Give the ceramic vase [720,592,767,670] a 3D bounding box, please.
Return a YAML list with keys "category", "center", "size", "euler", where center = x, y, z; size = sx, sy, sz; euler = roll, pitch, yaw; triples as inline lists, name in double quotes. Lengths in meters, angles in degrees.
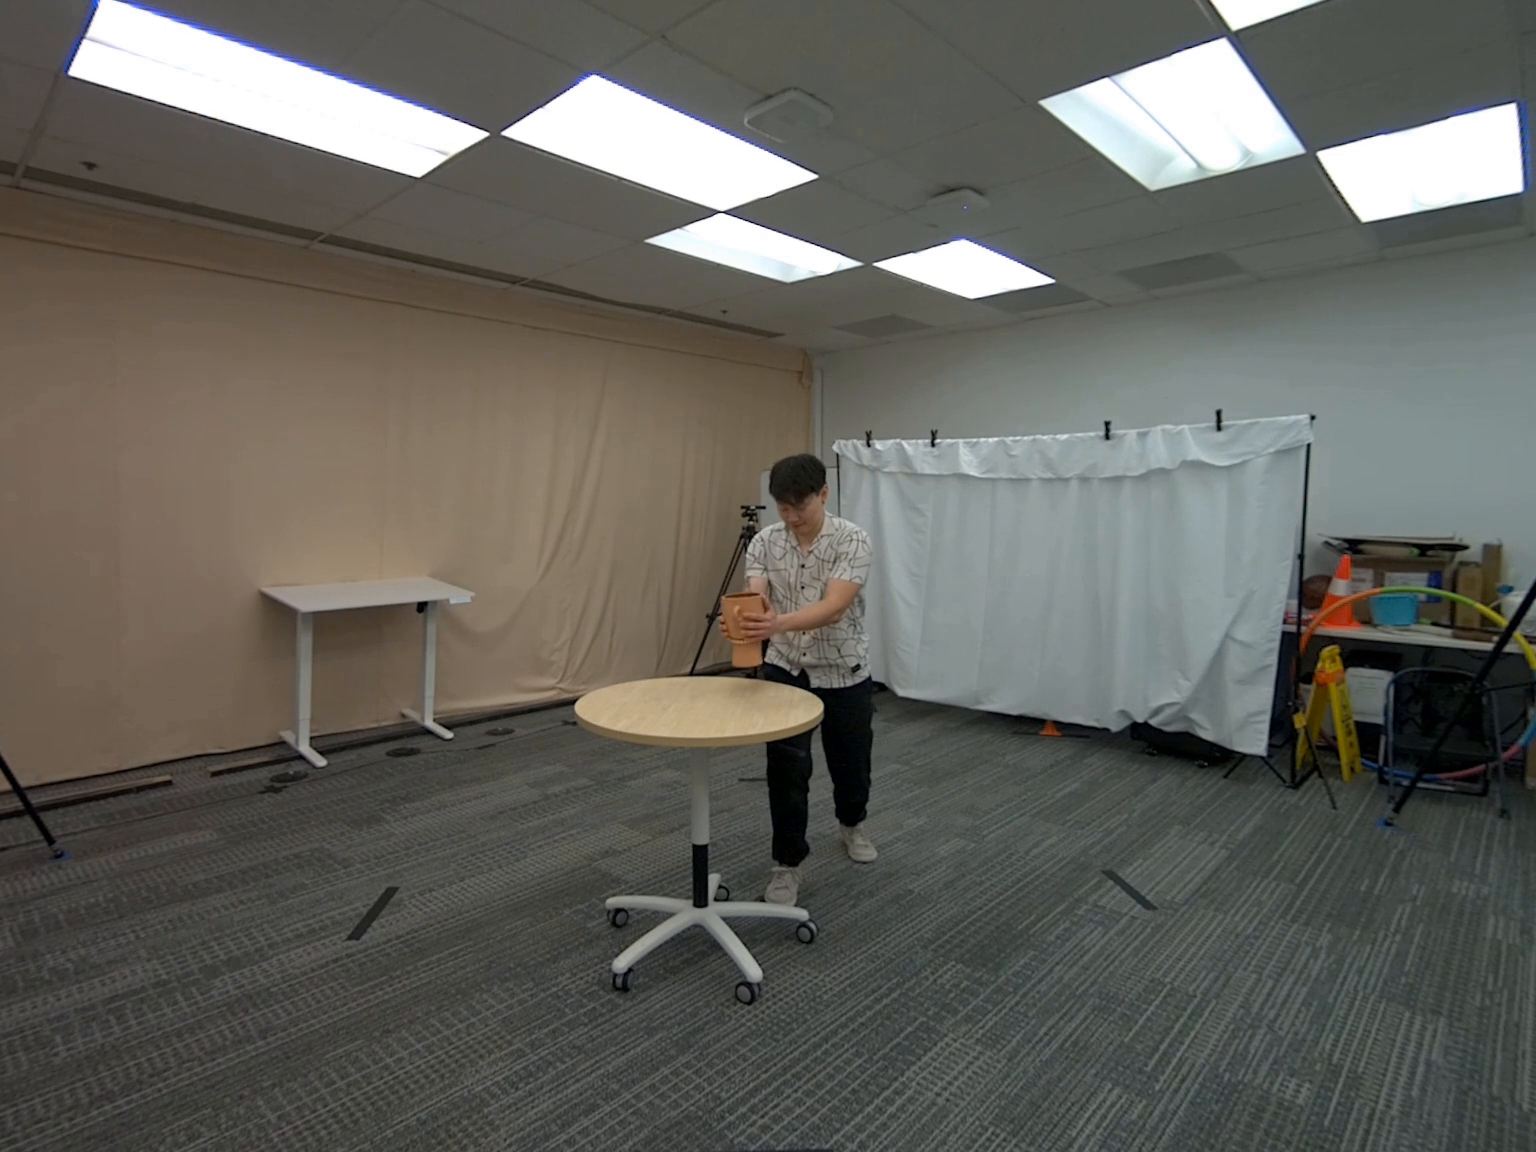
- category: "ceramic vase"
  center: [-0.064, 0.174, 2.681]
  size: [0.154, 0.219, 0.139]
  euler: [-9, 7, -41]
